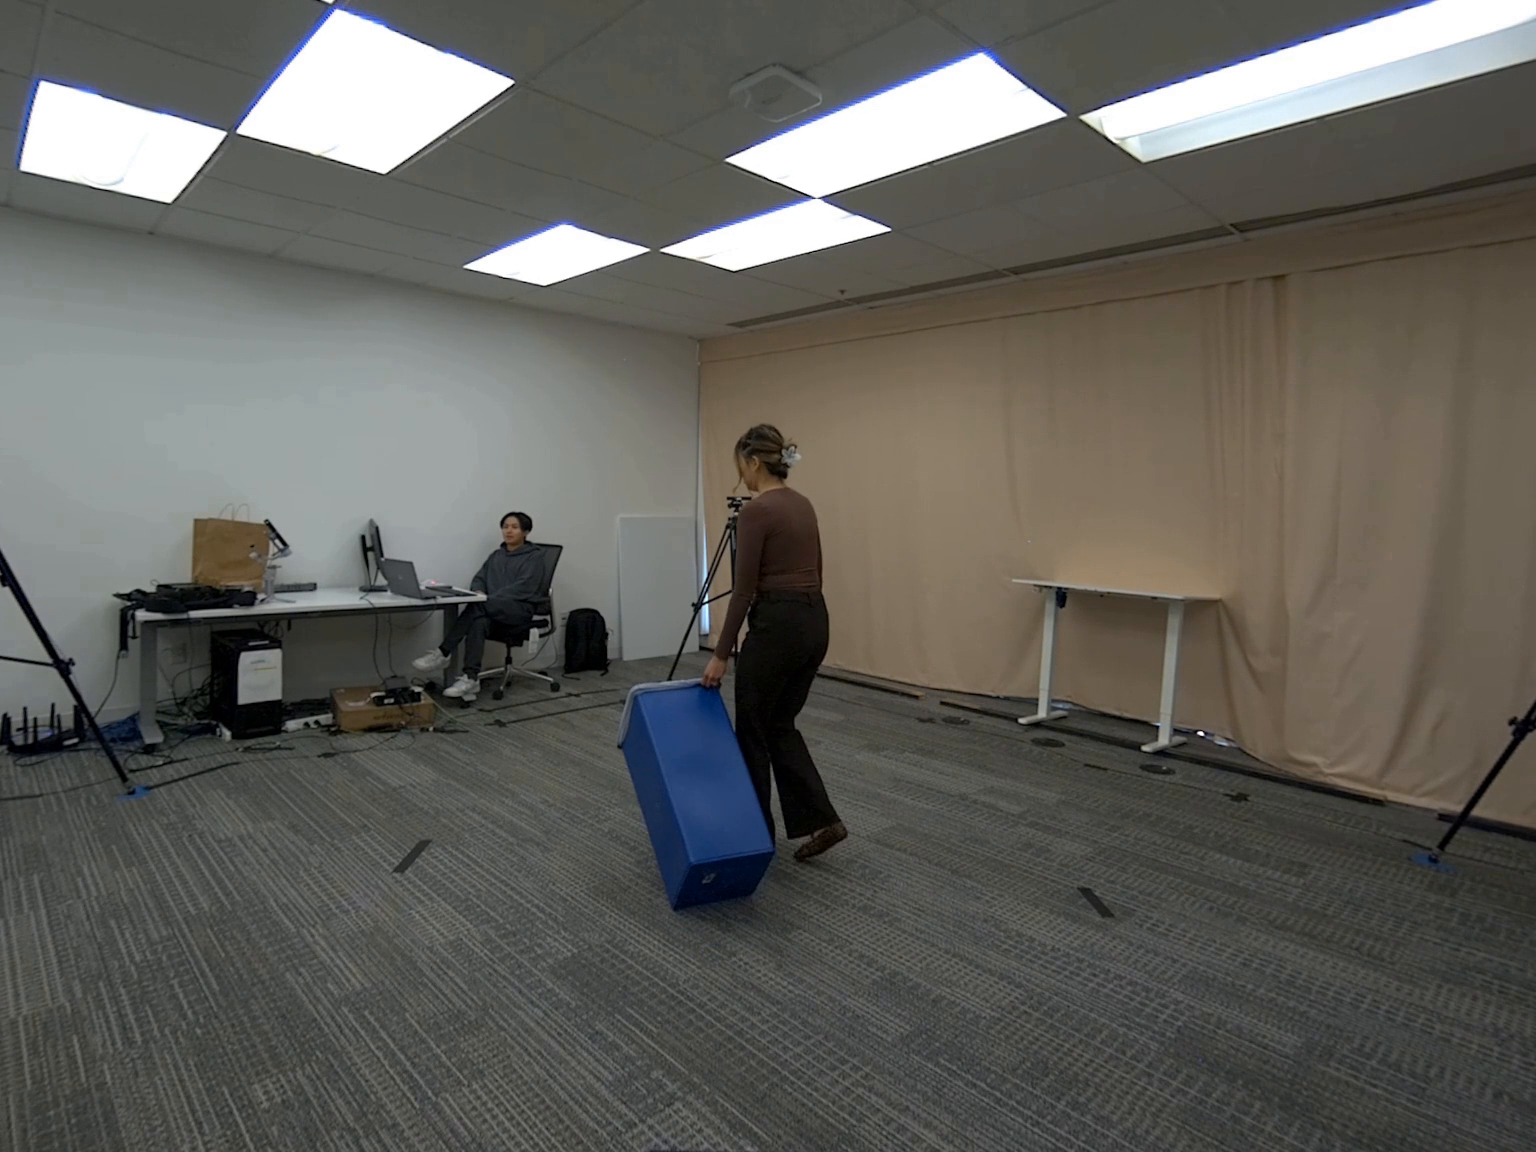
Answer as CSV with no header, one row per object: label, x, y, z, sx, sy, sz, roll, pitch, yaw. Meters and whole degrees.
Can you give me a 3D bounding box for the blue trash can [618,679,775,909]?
blue trash can,-0.280,0.773,3.036,0.367,0.373,0.735,-1,42,-26
